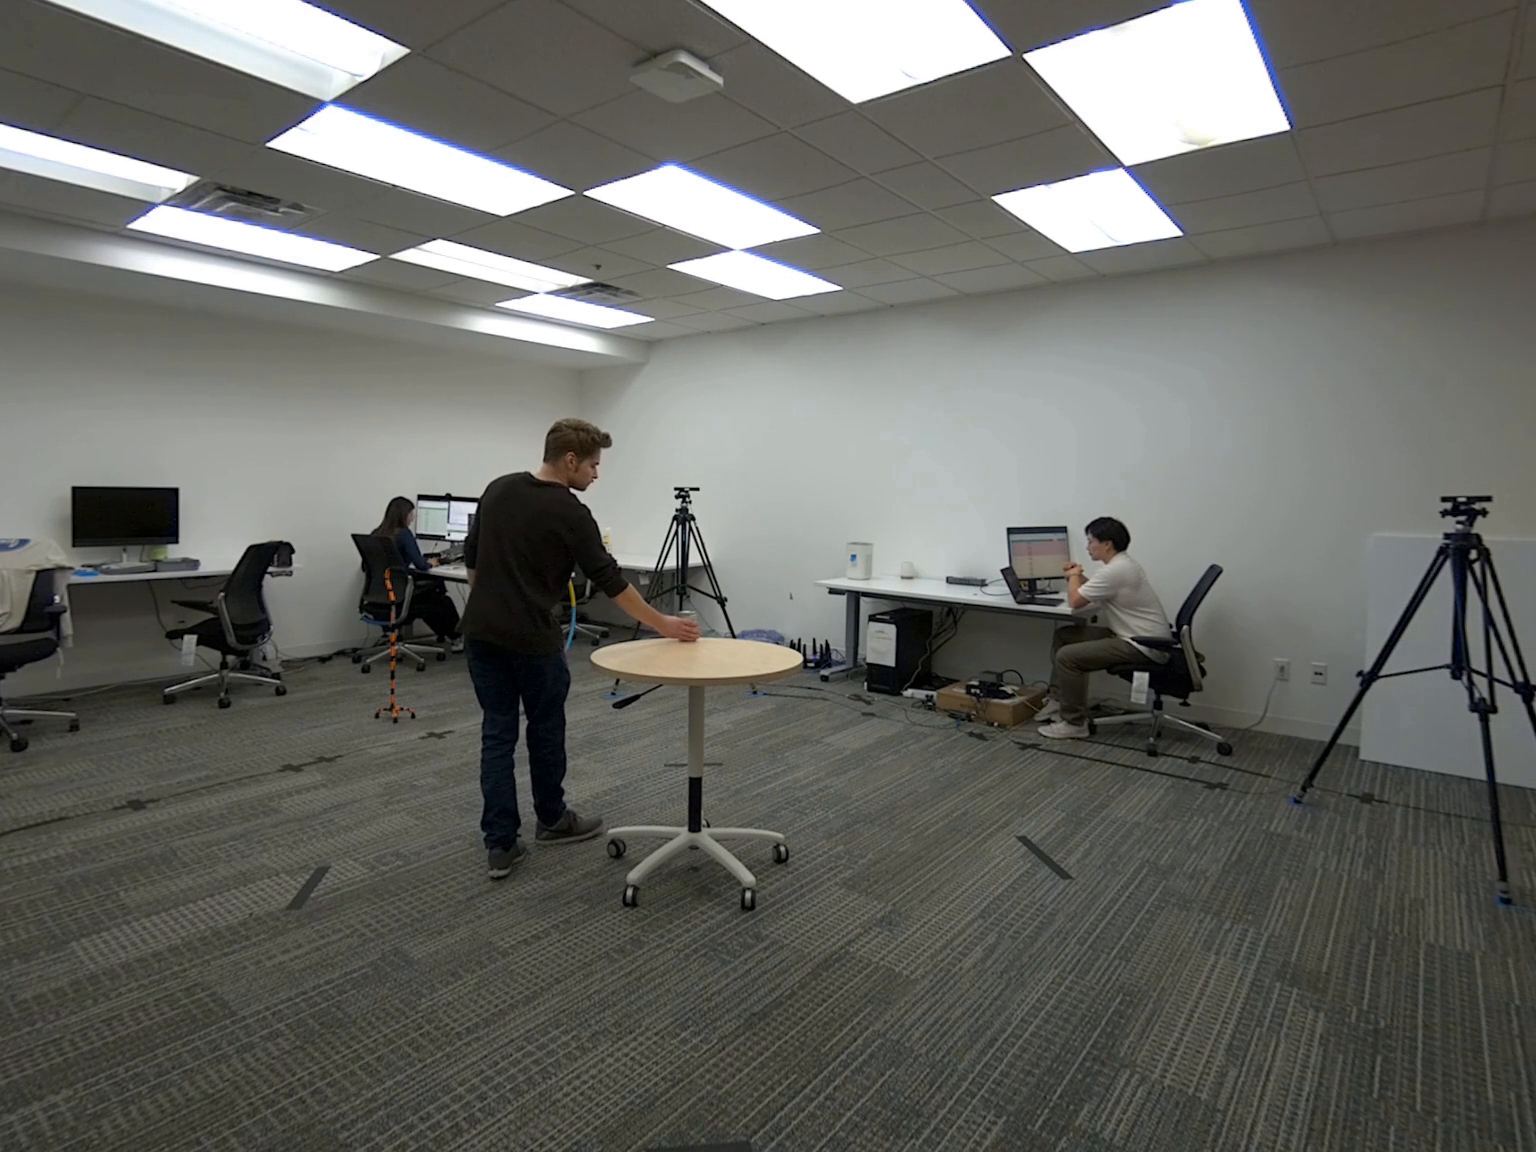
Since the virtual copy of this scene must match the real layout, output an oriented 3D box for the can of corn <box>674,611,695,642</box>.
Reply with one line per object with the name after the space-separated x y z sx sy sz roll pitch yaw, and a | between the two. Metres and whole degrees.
-0.338 0.200 3.389 0.074 0.111 0.074 0 2 -2 | can of corn
